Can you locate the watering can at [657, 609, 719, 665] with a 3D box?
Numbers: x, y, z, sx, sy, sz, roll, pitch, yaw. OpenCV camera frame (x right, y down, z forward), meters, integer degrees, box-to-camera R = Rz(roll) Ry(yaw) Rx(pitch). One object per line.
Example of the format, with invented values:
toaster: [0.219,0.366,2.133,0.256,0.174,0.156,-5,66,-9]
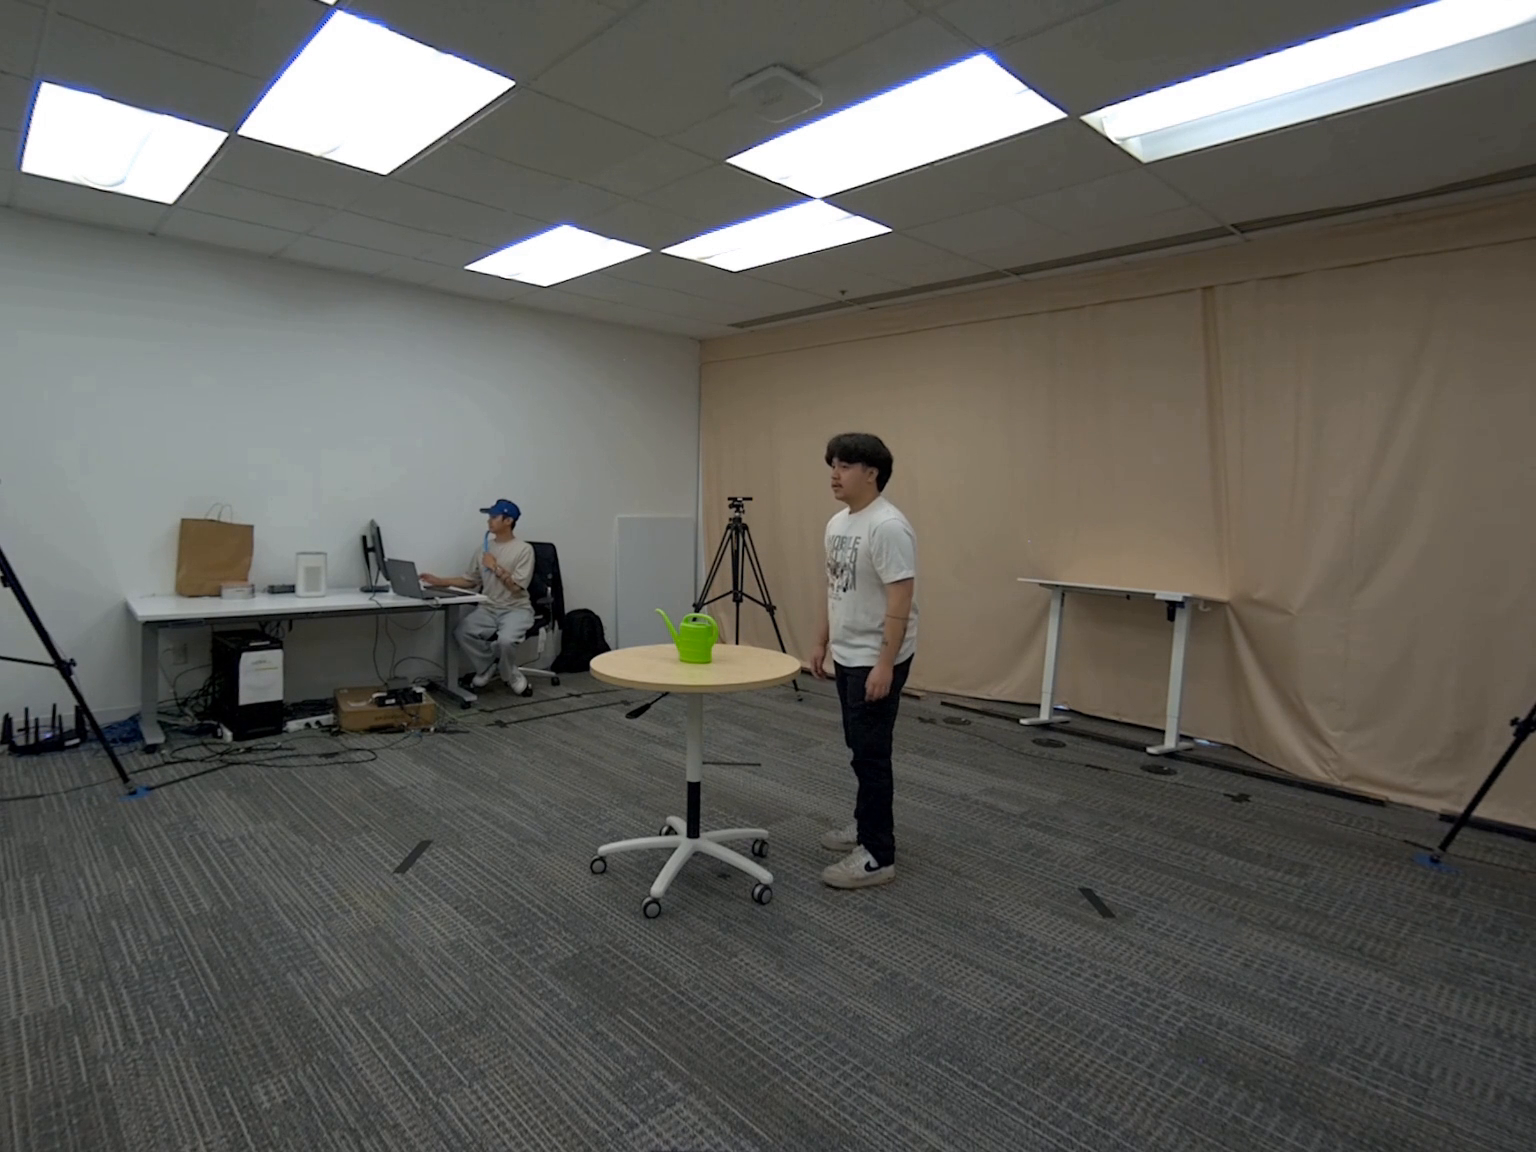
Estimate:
watering can: [-0.305,0.222,3.114,0.096,0.176,0.285,-3,7,-45]
